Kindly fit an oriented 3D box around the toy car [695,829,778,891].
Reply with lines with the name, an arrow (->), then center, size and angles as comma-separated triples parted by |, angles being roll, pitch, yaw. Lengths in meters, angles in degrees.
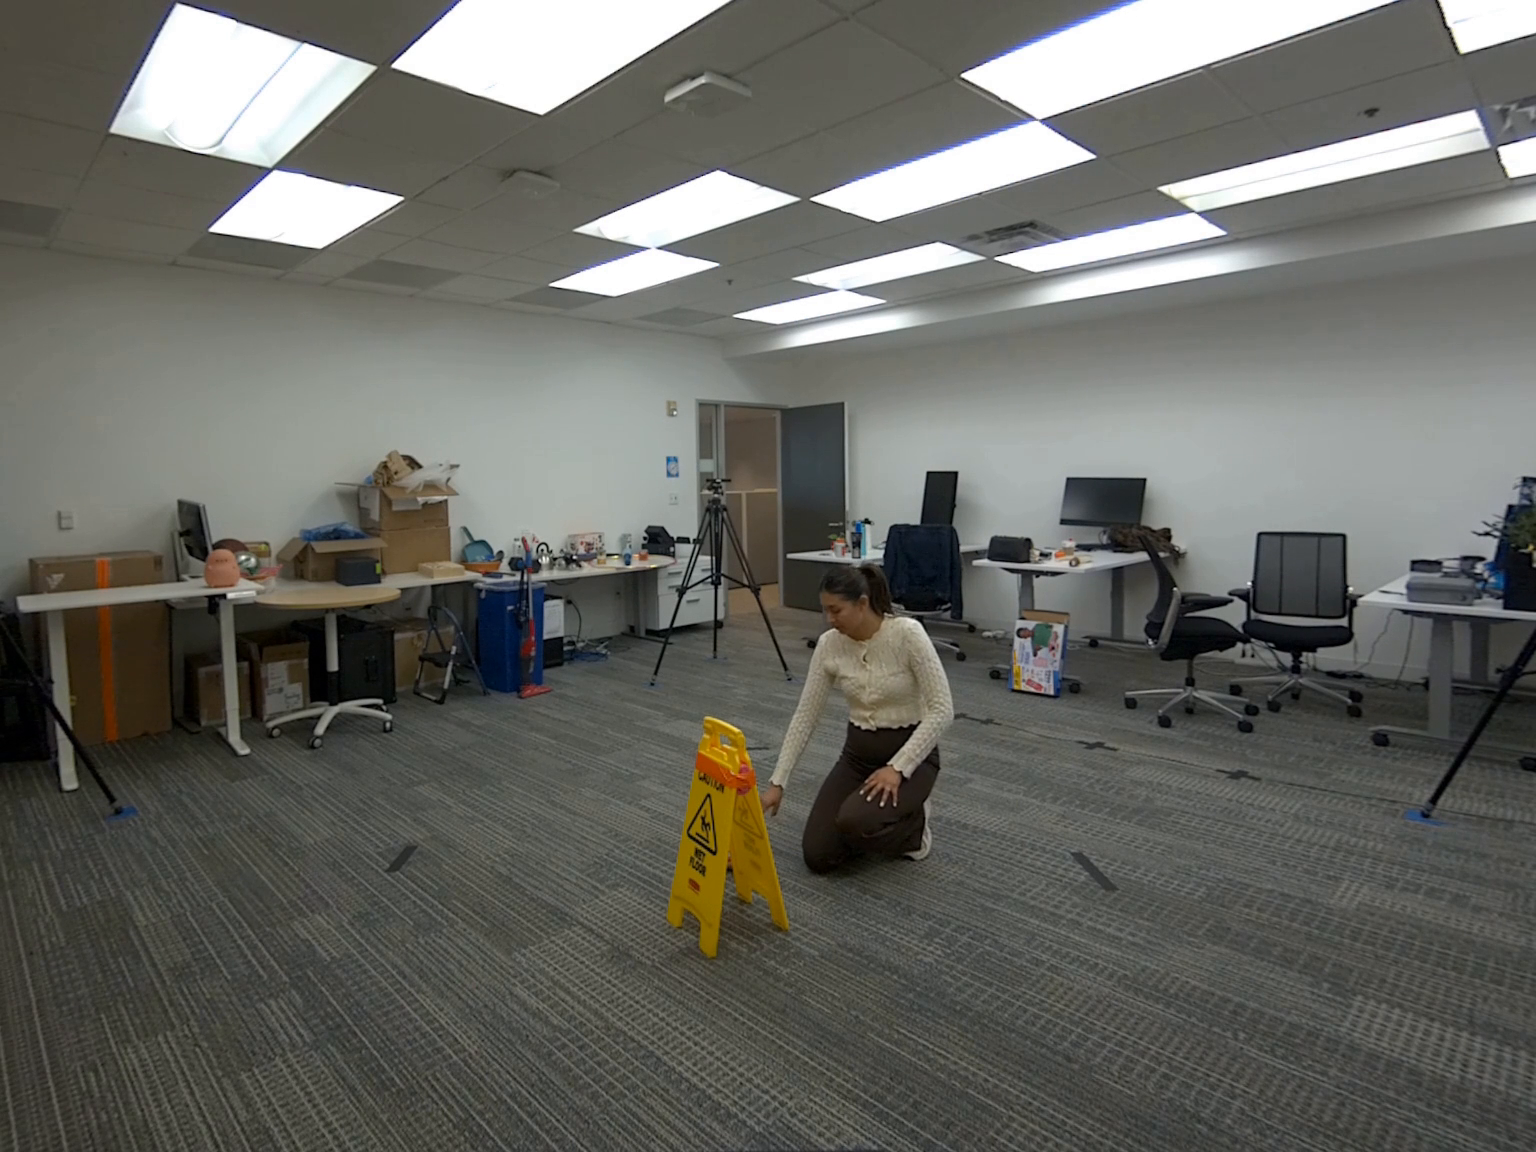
toy car -> -0.115, 1.016, 3.082 | 0.261, 0.082, 0.128 | 13, 13, 25
